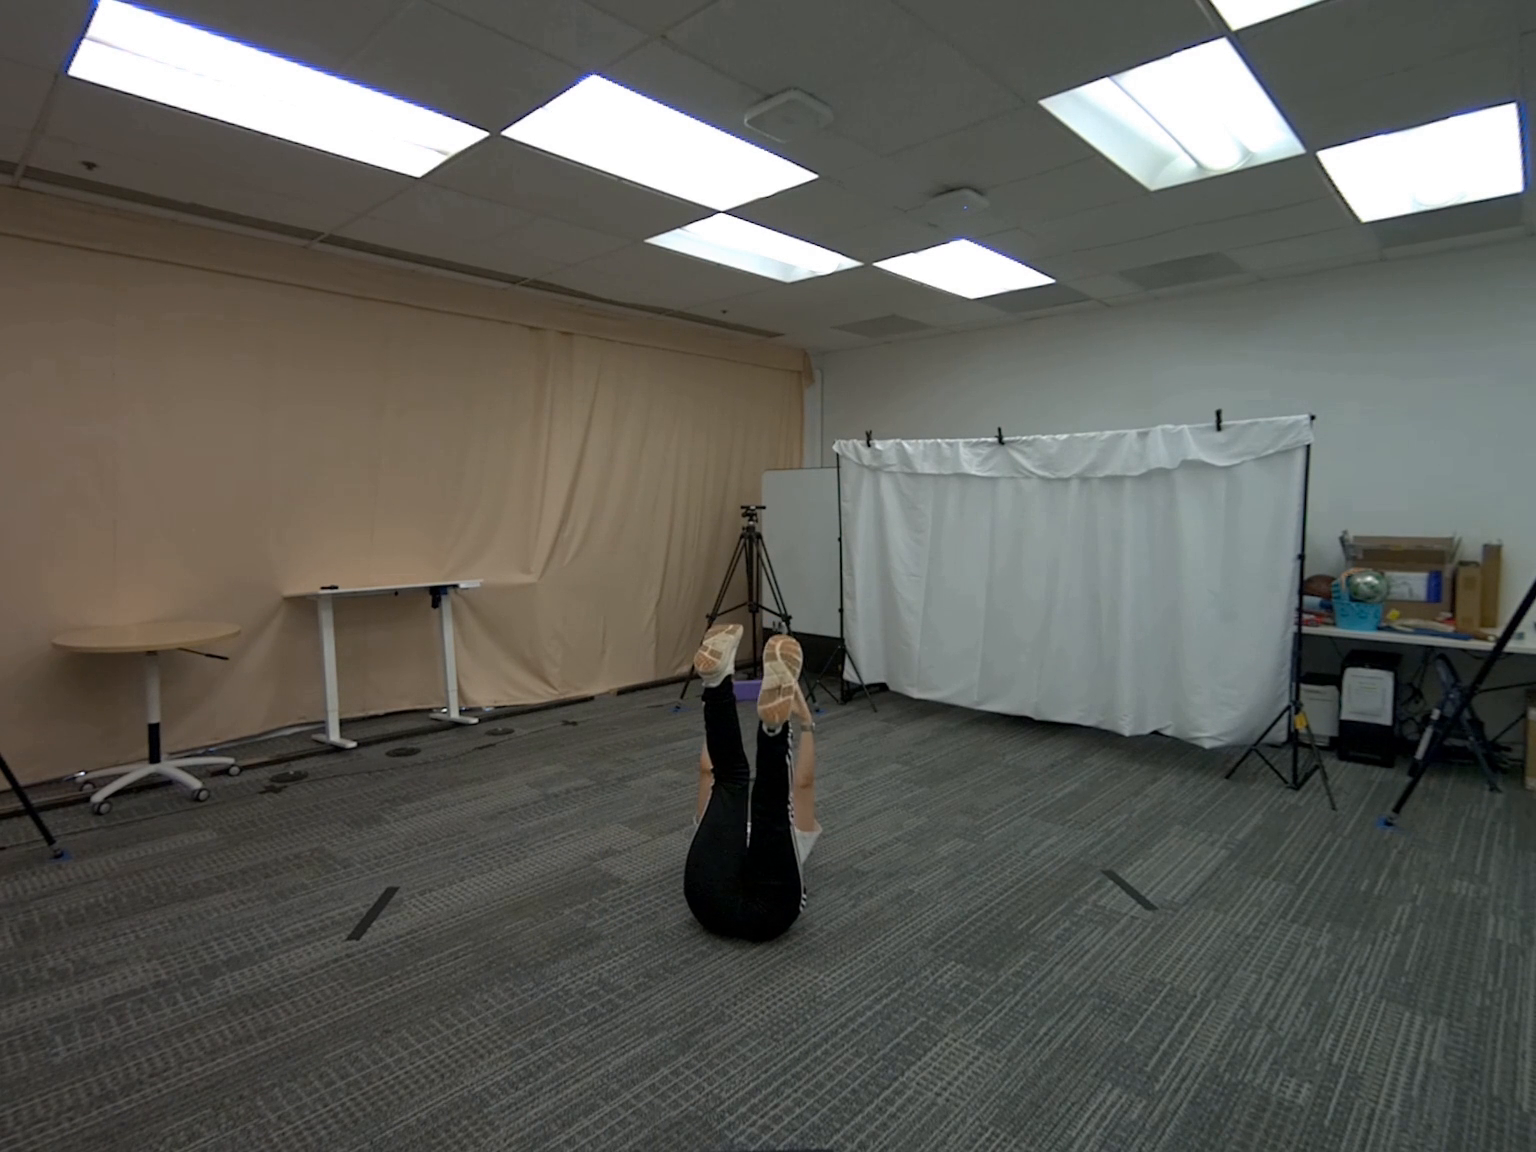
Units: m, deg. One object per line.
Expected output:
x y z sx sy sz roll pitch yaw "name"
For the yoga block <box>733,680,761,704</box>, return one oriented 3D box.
-0.048 0.450 3.324 0.230 0.077 0.148 -1 -5 3 "yoga block"
